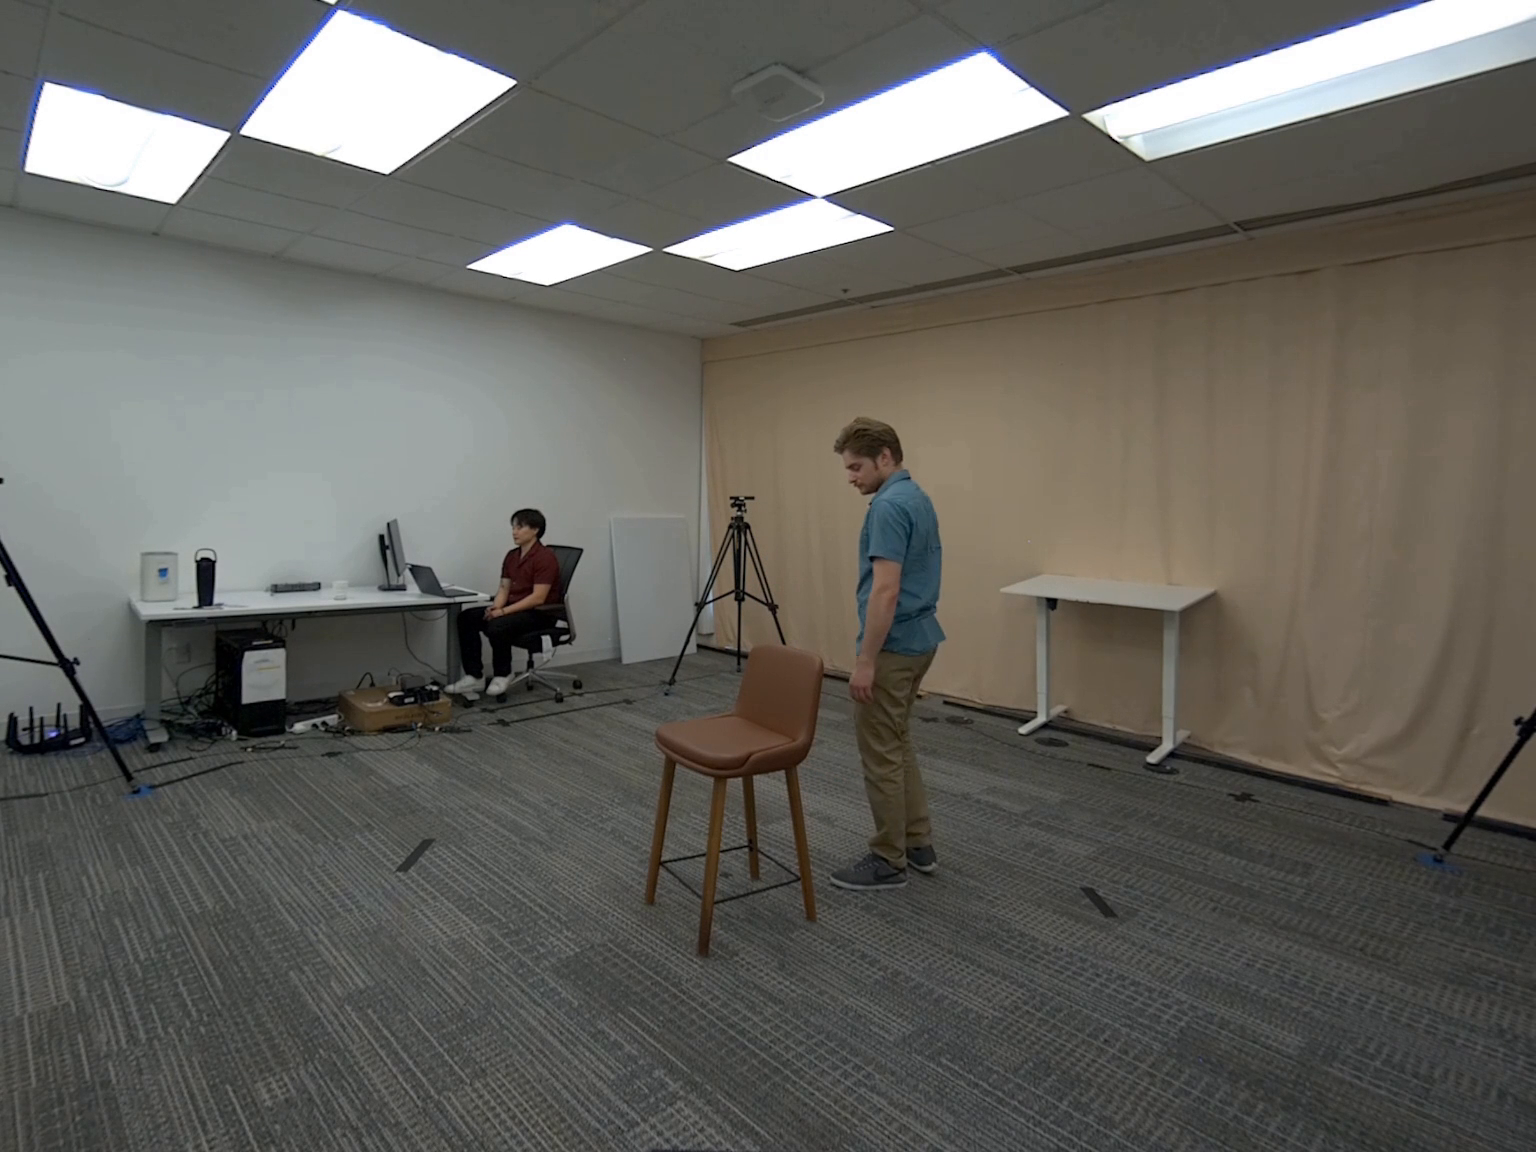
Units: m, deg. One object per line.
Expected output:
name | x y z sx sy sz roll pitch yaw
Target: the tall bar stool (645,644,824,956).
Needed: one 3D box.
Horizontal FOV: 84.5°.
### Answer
tall bar stool | -0.113 0.697 2.803 0.457 0.888 0.467 1 3 -33
